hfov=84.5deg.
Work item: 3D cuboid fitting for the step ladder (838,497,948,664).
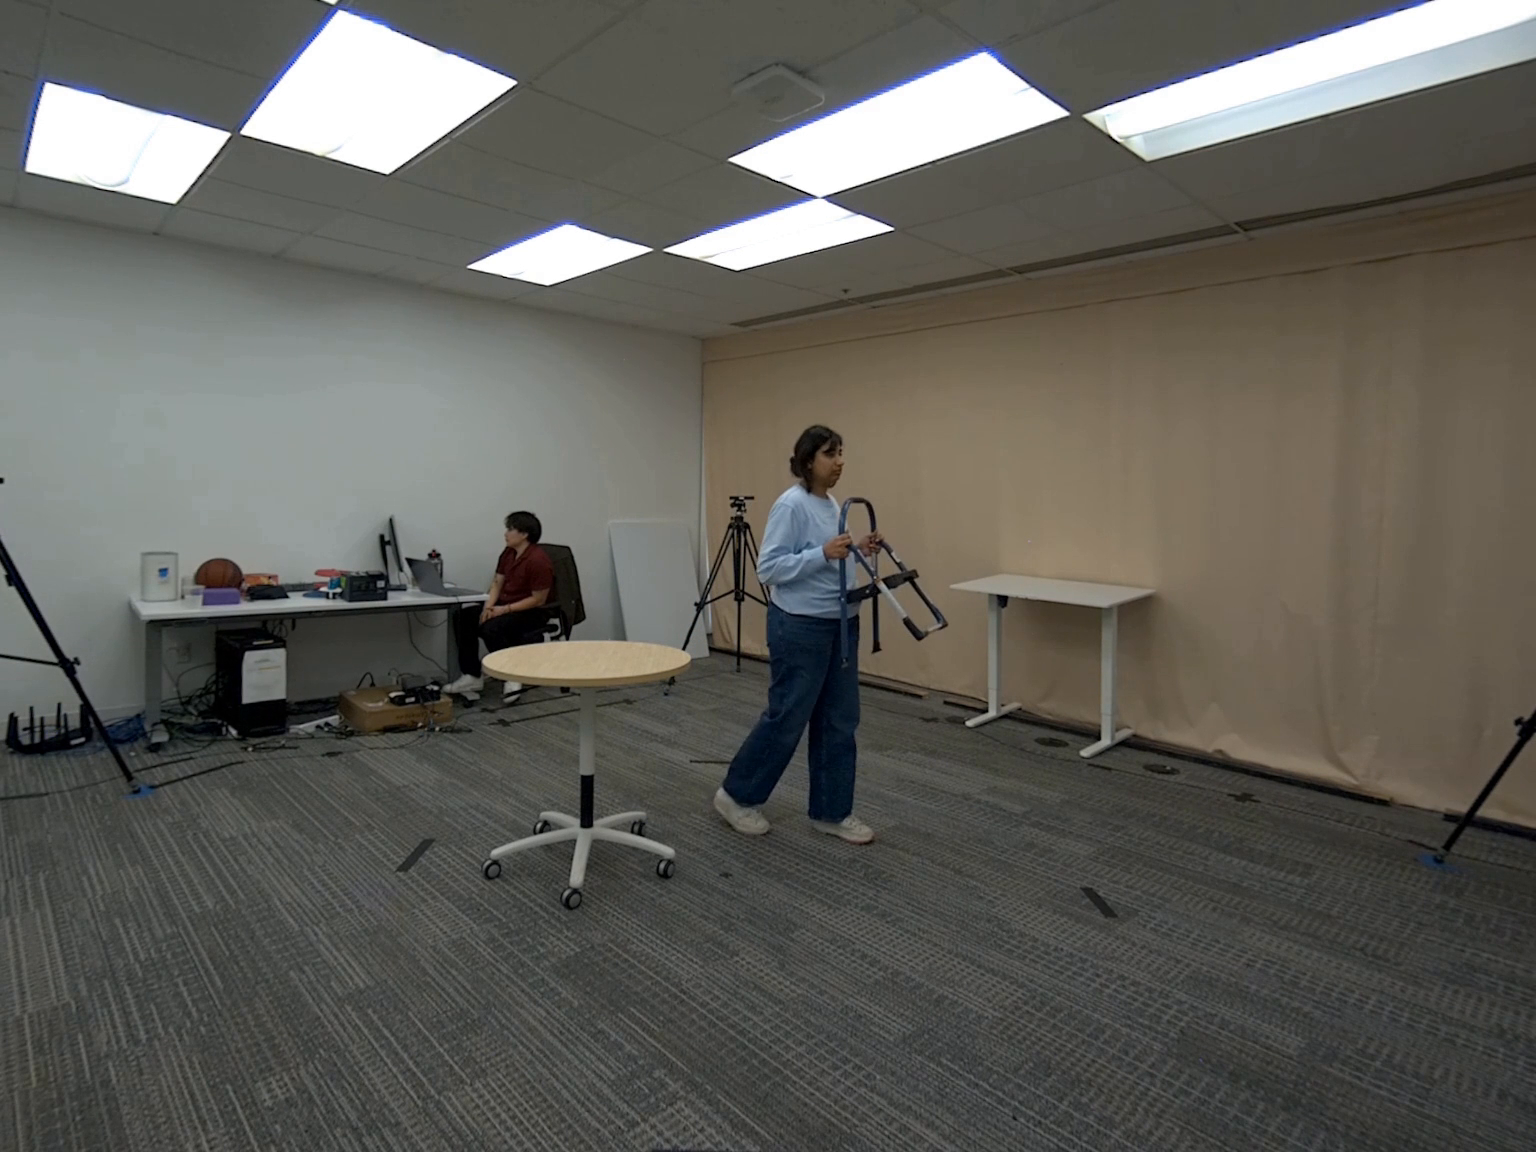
[{"bbox_3d":[0.387,-0.002,3.368,0.353,0.610,0.423,-23,-7,25],"label":"step ladder"}]
